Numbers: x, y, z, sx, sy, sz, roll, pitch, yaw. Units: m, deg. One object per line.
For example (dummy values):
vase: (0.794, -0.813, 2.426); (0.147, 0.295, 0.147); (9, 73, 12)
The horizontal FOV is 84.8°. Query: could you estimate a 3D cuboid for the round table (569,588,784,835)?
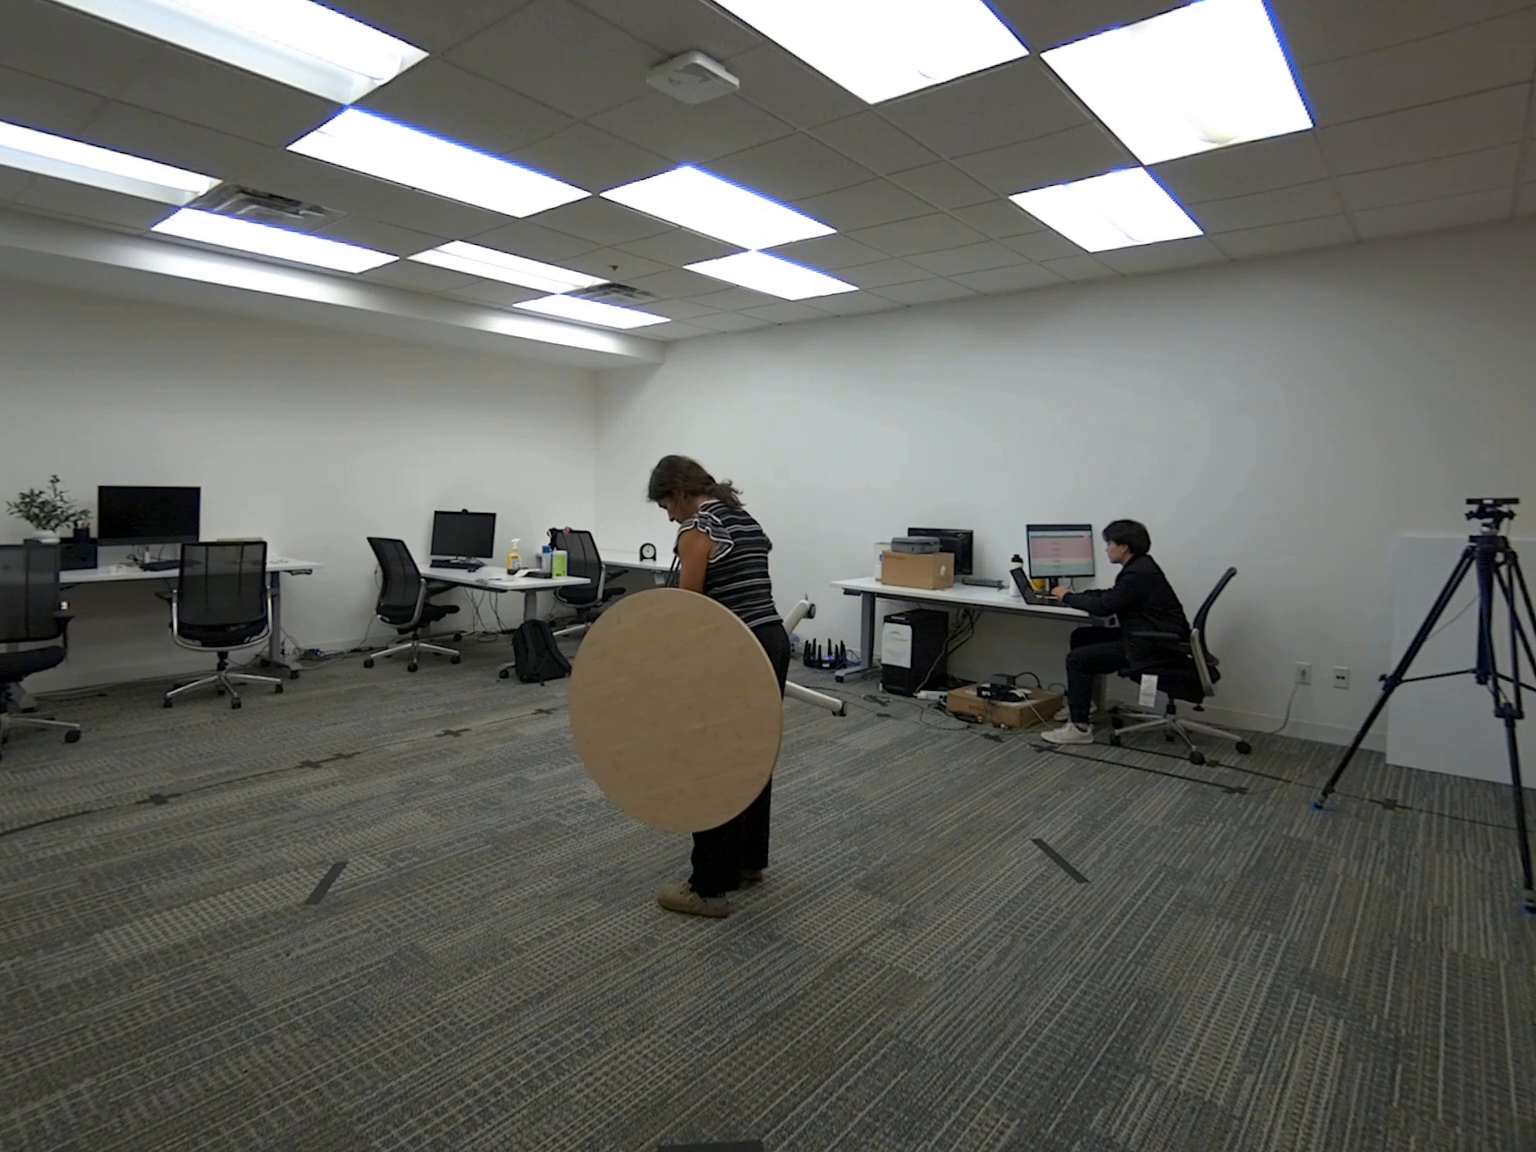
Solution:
round table: (-0.174, 0.407, 3.044); (0.784, 0.762, 0.775); (3, 3, 25)
